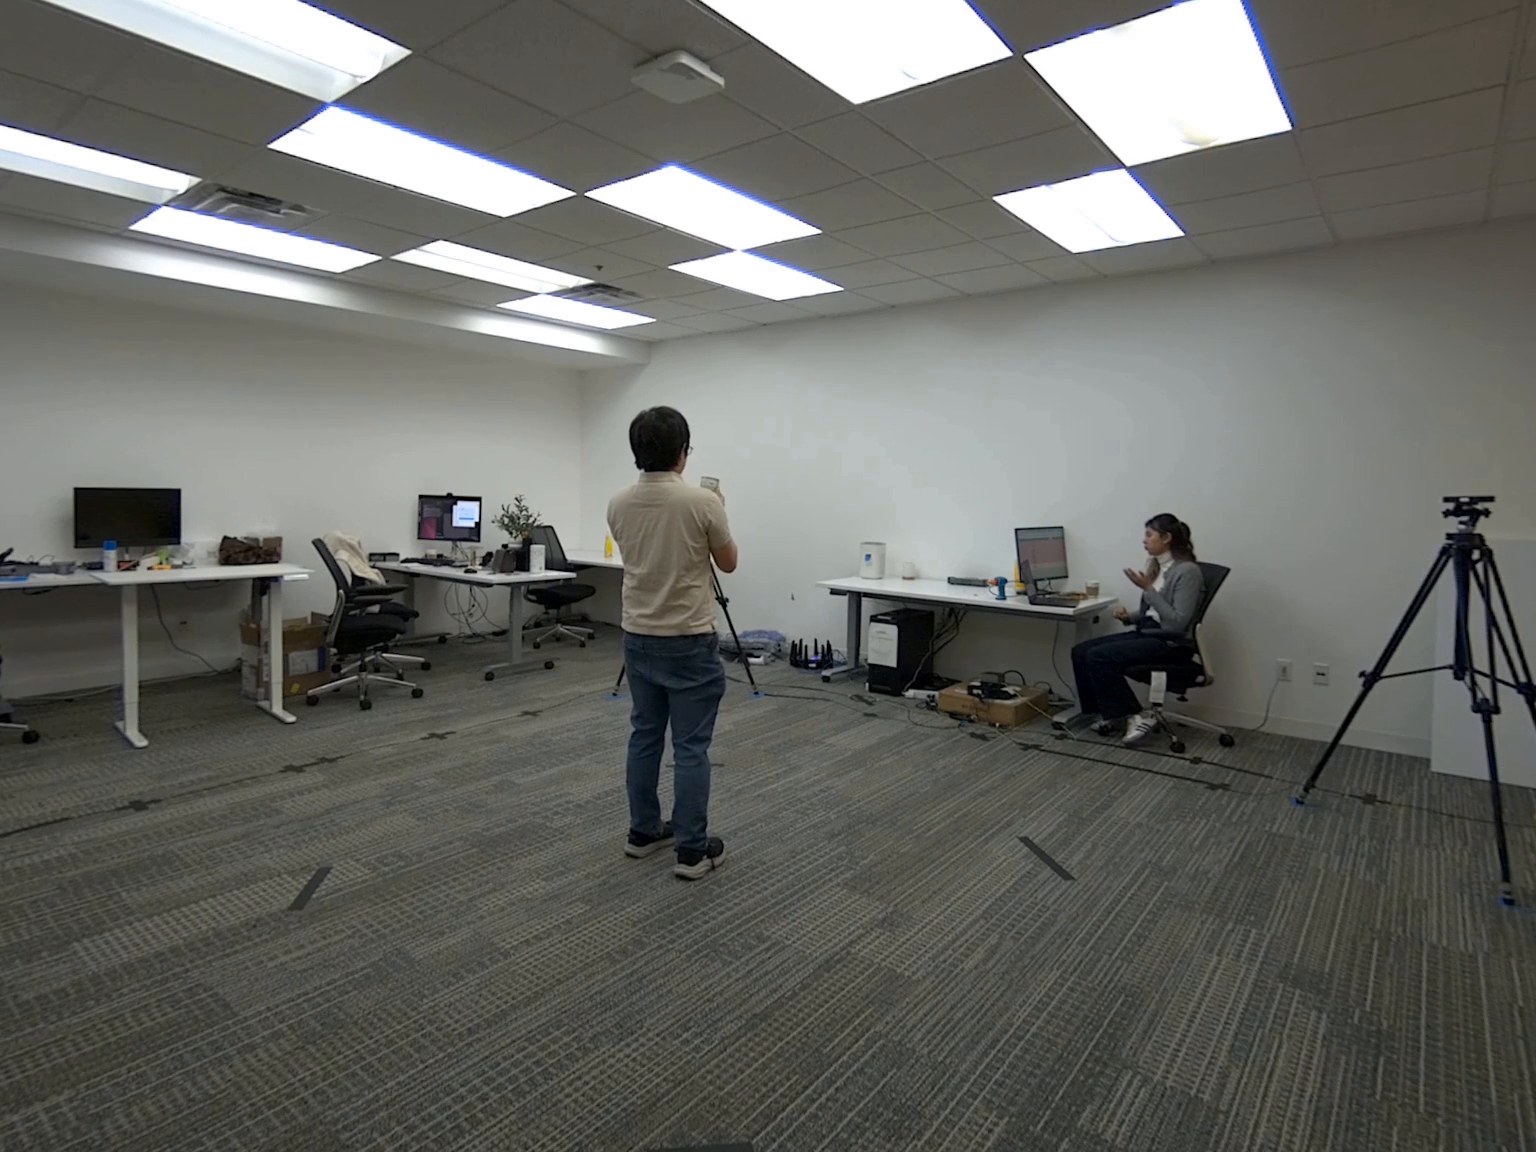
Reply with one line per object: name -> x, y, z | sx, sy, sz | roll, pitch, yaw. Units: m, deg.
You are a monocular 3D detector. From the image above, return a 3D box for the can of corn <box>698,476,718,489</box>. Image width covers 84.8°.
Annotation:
can of corn -> -0.254, -0.339, 3.417 | 0.074, 0.111, 0.074 | 11, -5, -1
